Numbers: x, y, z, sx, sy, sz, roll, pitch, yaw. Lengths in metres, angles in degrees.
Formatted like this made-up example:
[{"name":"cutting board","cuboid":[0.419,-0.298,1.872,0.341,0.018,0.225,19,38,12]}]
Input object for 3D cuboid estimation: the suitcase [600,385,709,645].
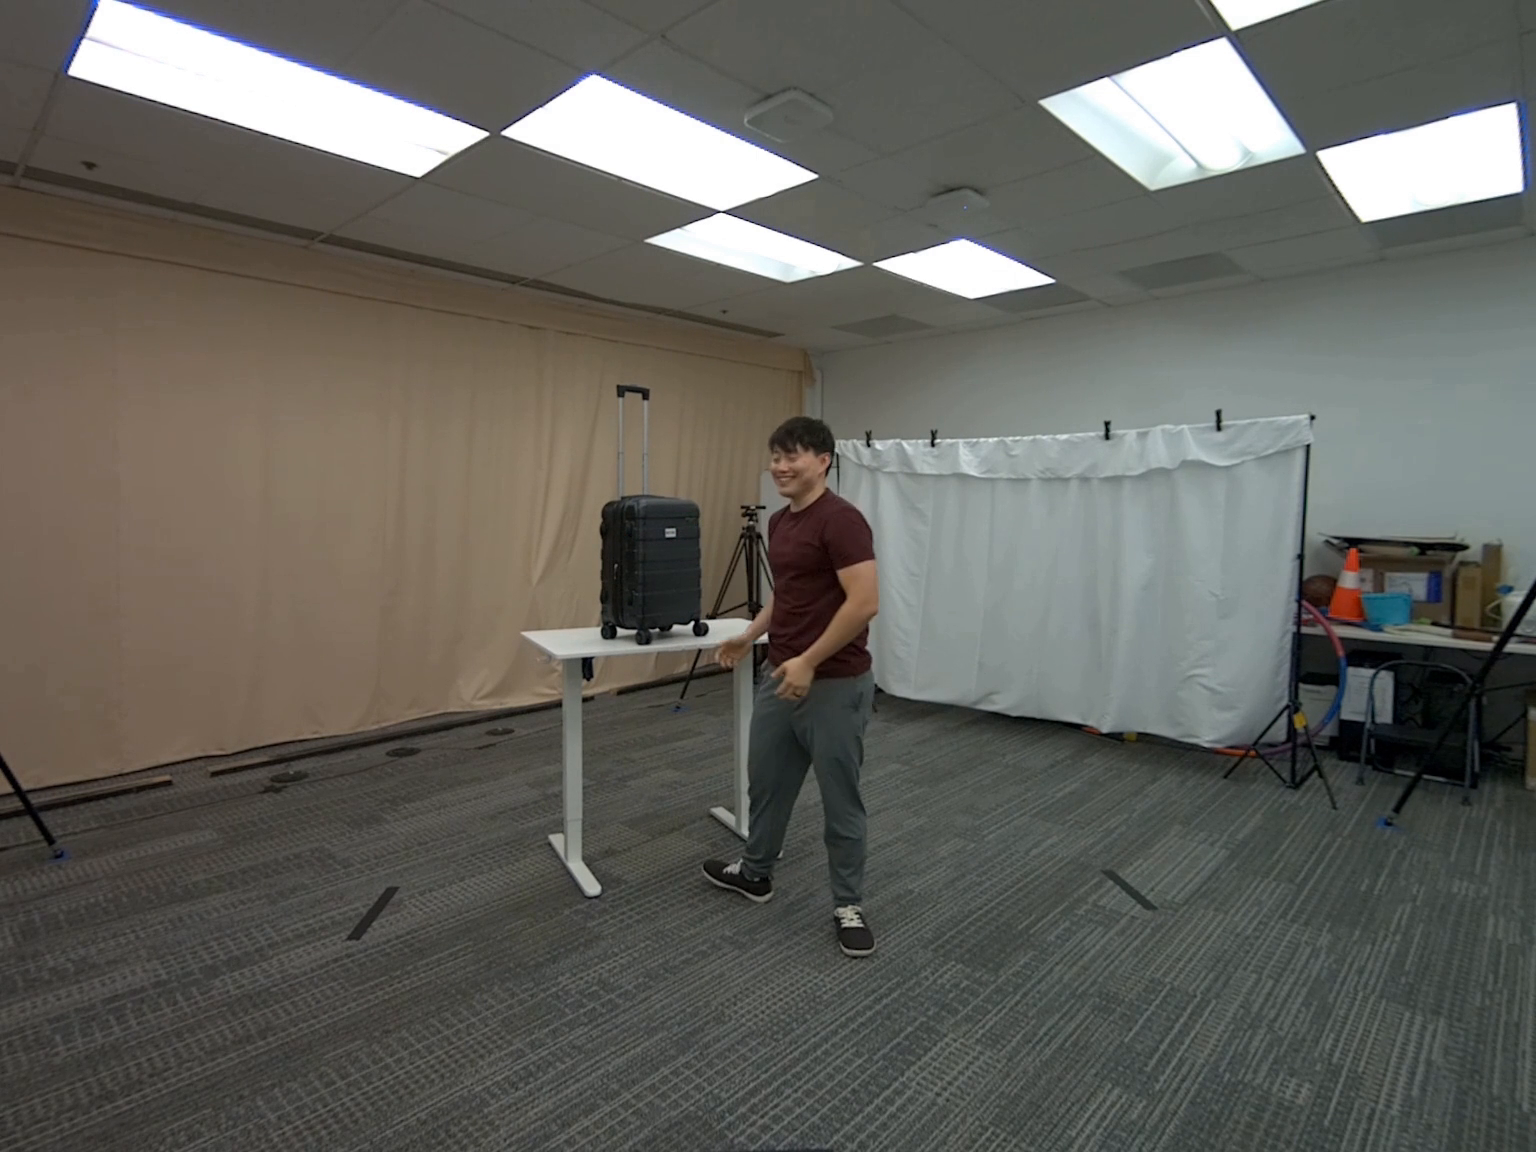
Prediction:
[{"name":"suitcase","cuboid":[-0.445,-0.243,3.270,0.265,0.976,0.372,3,5,42]}]
